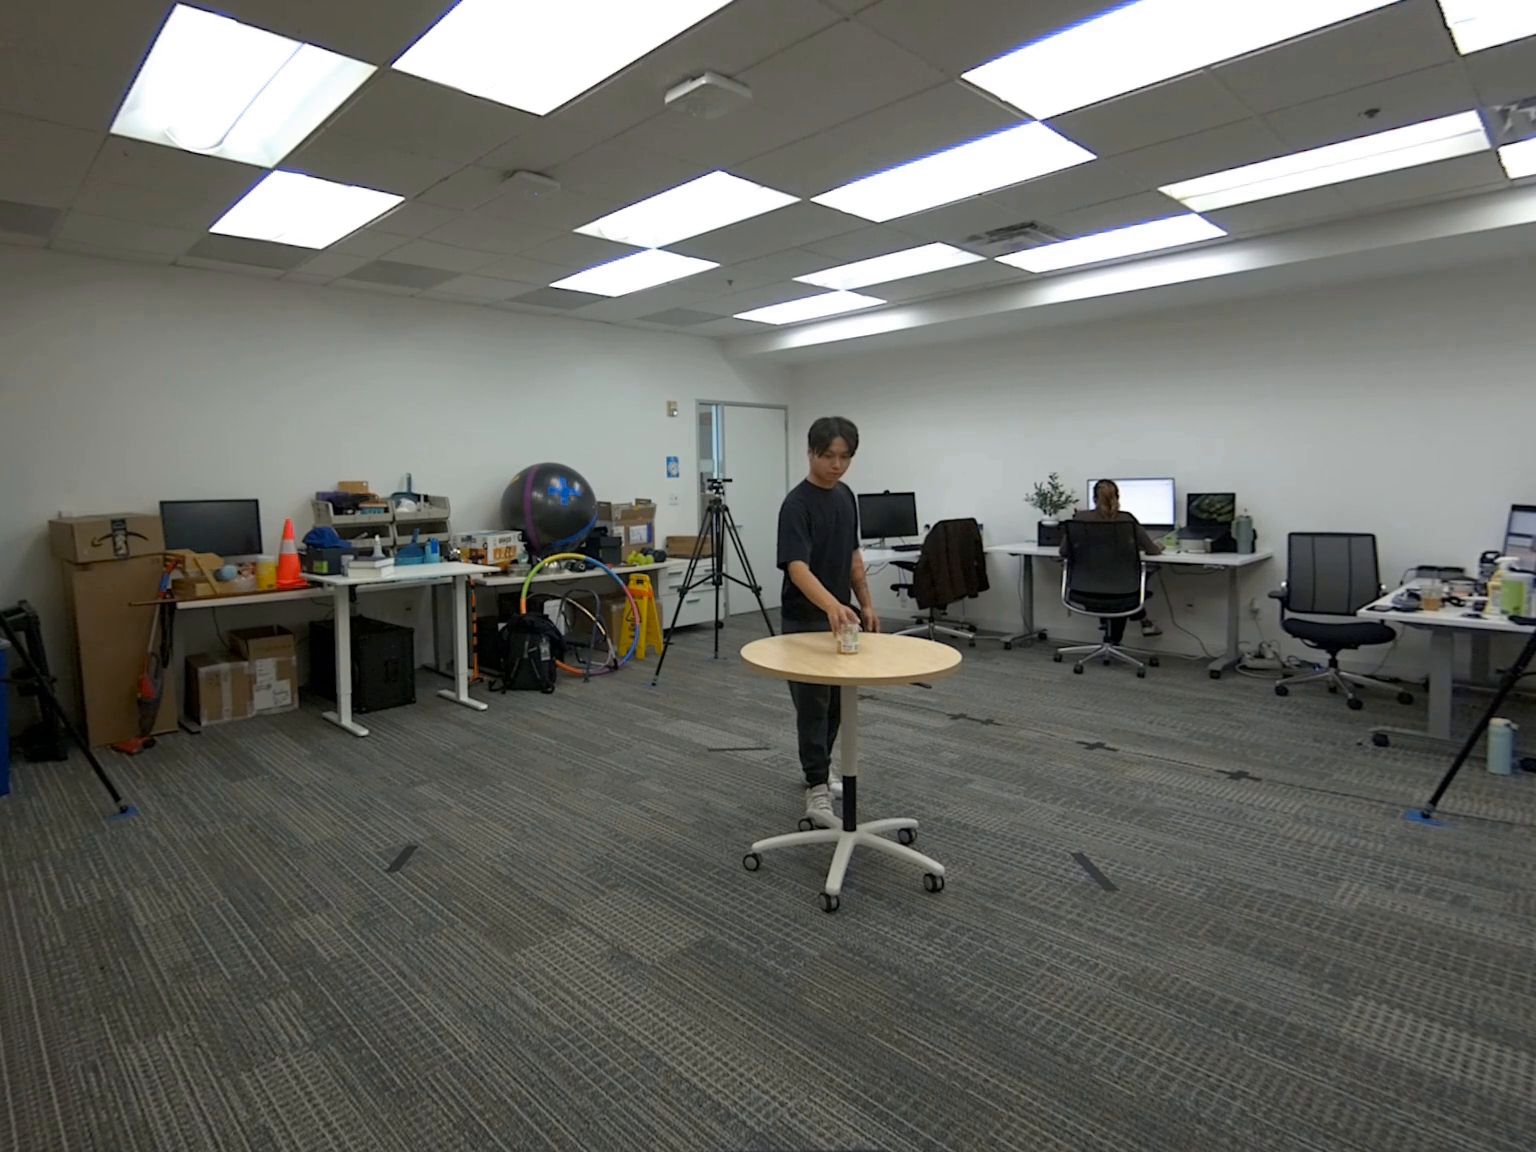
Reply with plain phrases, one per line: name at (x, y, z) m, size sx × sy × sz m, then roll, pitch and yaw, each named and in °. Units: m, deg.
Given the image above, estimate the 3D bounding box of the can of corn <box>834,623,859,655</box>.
can of corn at (0.281, 0.216, 2.988) m, size 0.074 × 0.111 × 0.074 m, roll -1°, pitch 4°, yaw -2°
